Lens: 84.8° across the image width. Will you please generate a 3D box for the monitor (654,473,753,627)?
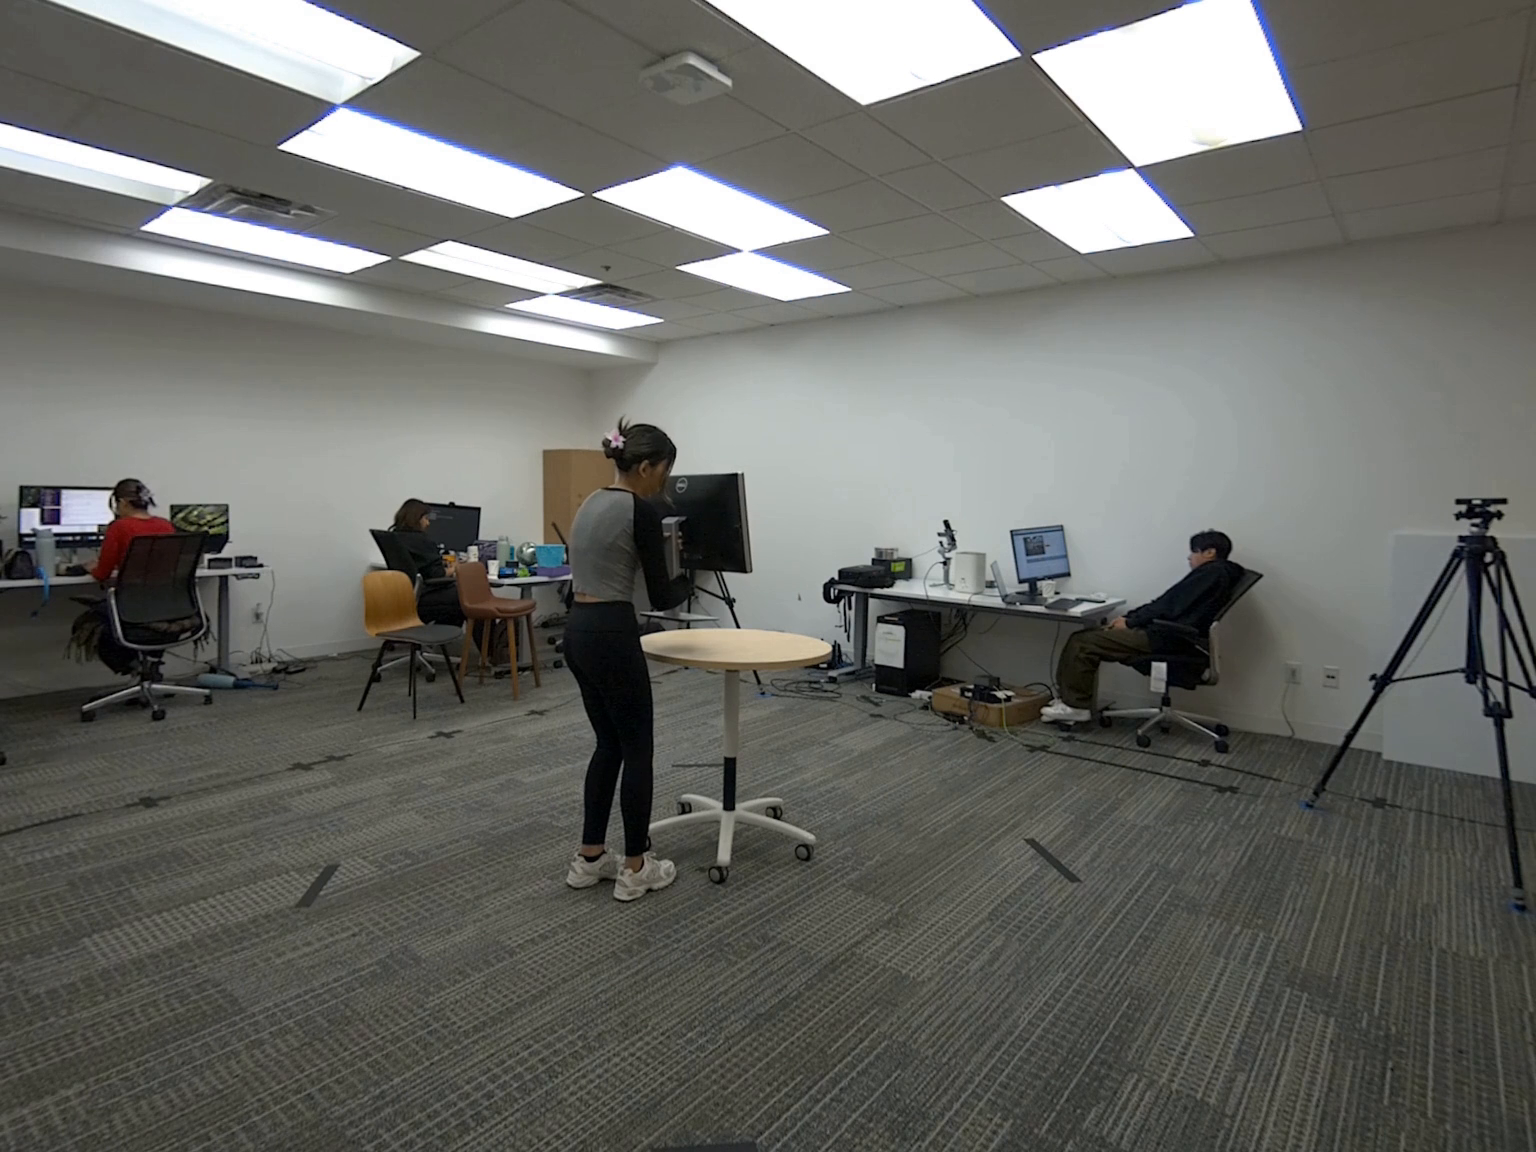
[{"bbox_3d":[-0.323,-0.113,3.164,0.557,0.523,0.181,4,-1,43],"label":"monitor"}]
